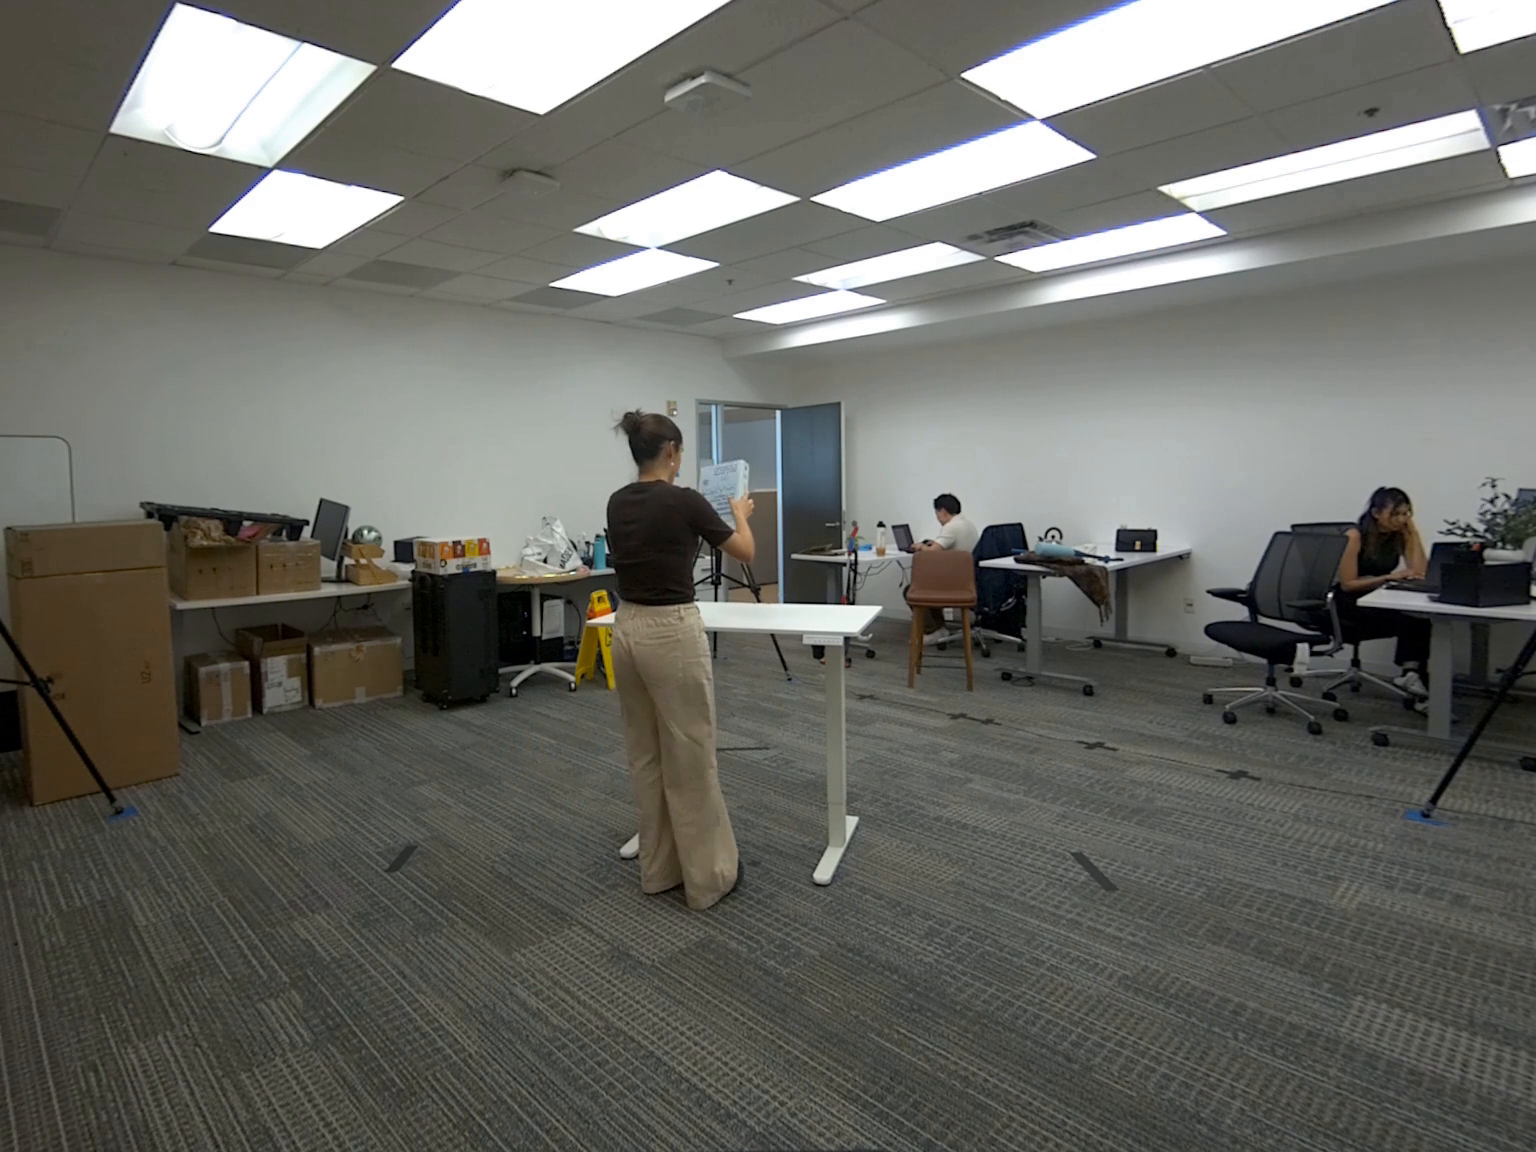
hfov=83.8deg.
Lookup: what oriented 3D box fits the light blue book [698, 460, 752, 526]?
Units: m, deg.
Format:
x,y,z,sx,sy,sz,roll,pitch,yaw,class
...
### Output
x,y,z,sx,sy,sz,roll,pitch,yaw,class
-0.169,-0.285,3.178,0.195,0.265,0.057,-8,-26,29,light blue book
